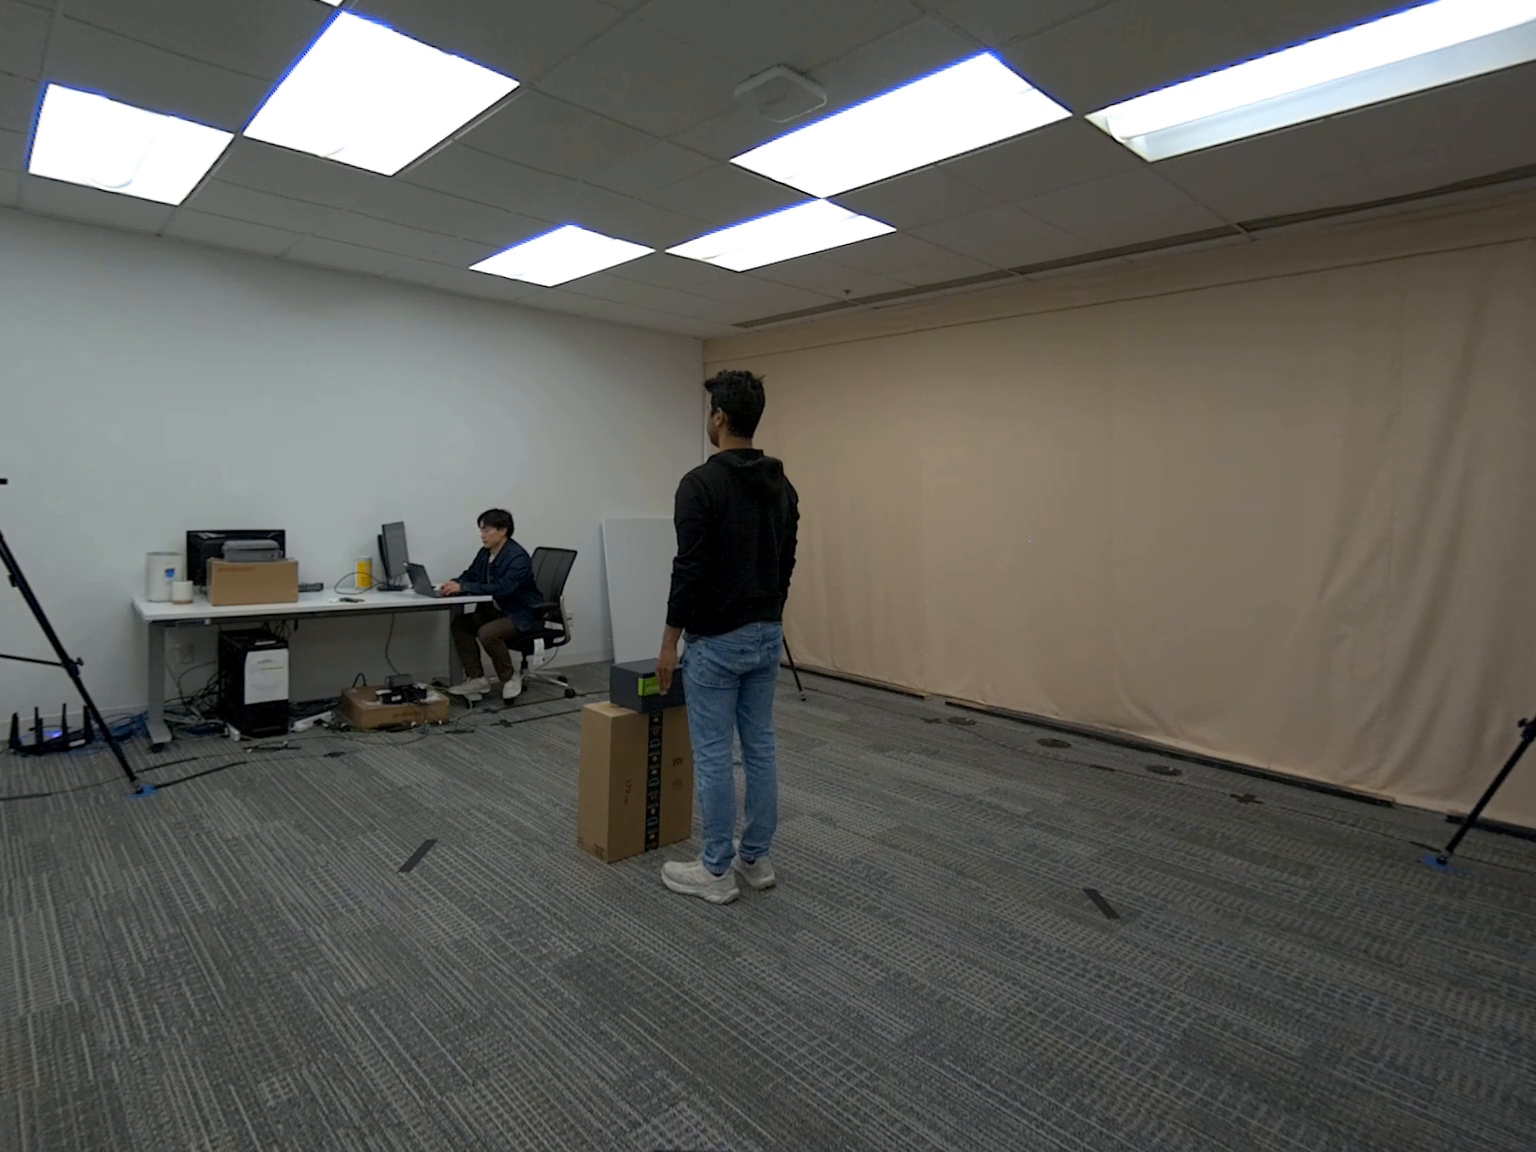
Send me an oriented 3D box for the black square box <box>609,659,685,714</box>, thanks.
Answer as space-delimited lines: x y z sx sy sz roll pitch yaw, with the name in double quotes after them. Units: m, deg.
-0.481 0.430 3.352 0.222 0.155 0.223 6 6 44 "black square box"
